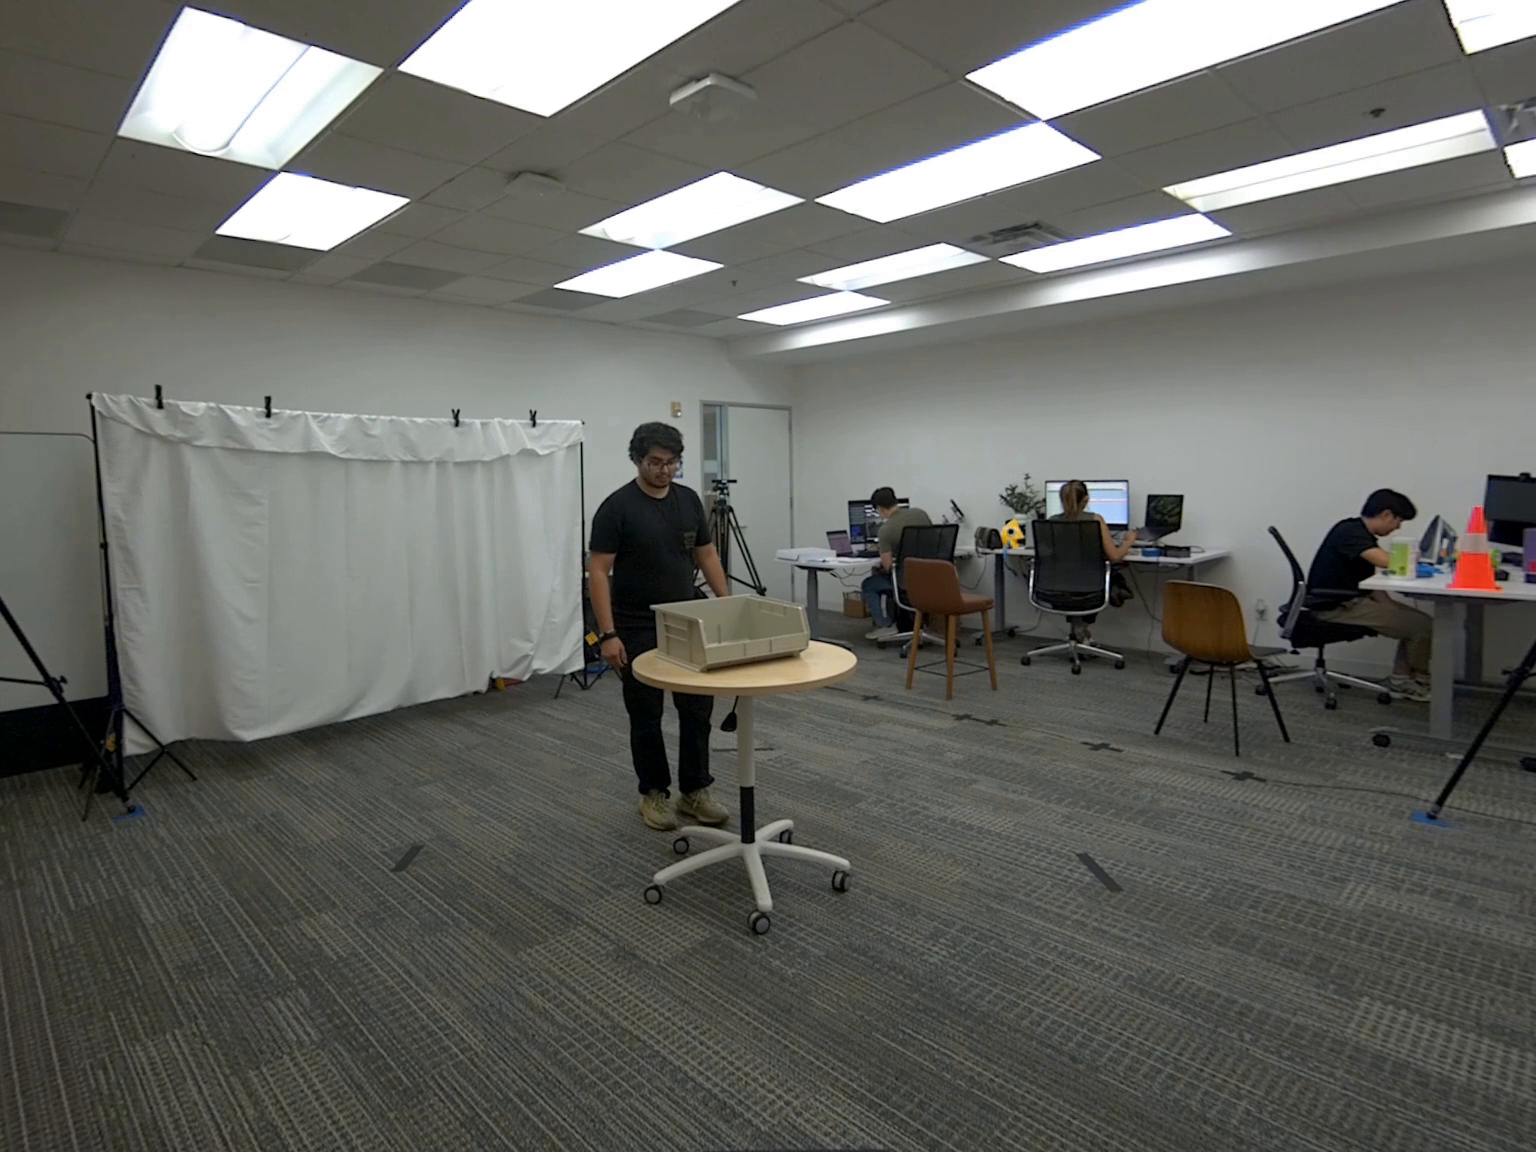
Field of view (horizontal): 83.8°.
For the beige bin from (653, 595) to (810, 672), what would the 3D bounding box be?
[{"bbox_3d":[-0.132,0.192,2.963,0.412,0.188,0.388,-6,7,-32],"label":"beige bin"}]
